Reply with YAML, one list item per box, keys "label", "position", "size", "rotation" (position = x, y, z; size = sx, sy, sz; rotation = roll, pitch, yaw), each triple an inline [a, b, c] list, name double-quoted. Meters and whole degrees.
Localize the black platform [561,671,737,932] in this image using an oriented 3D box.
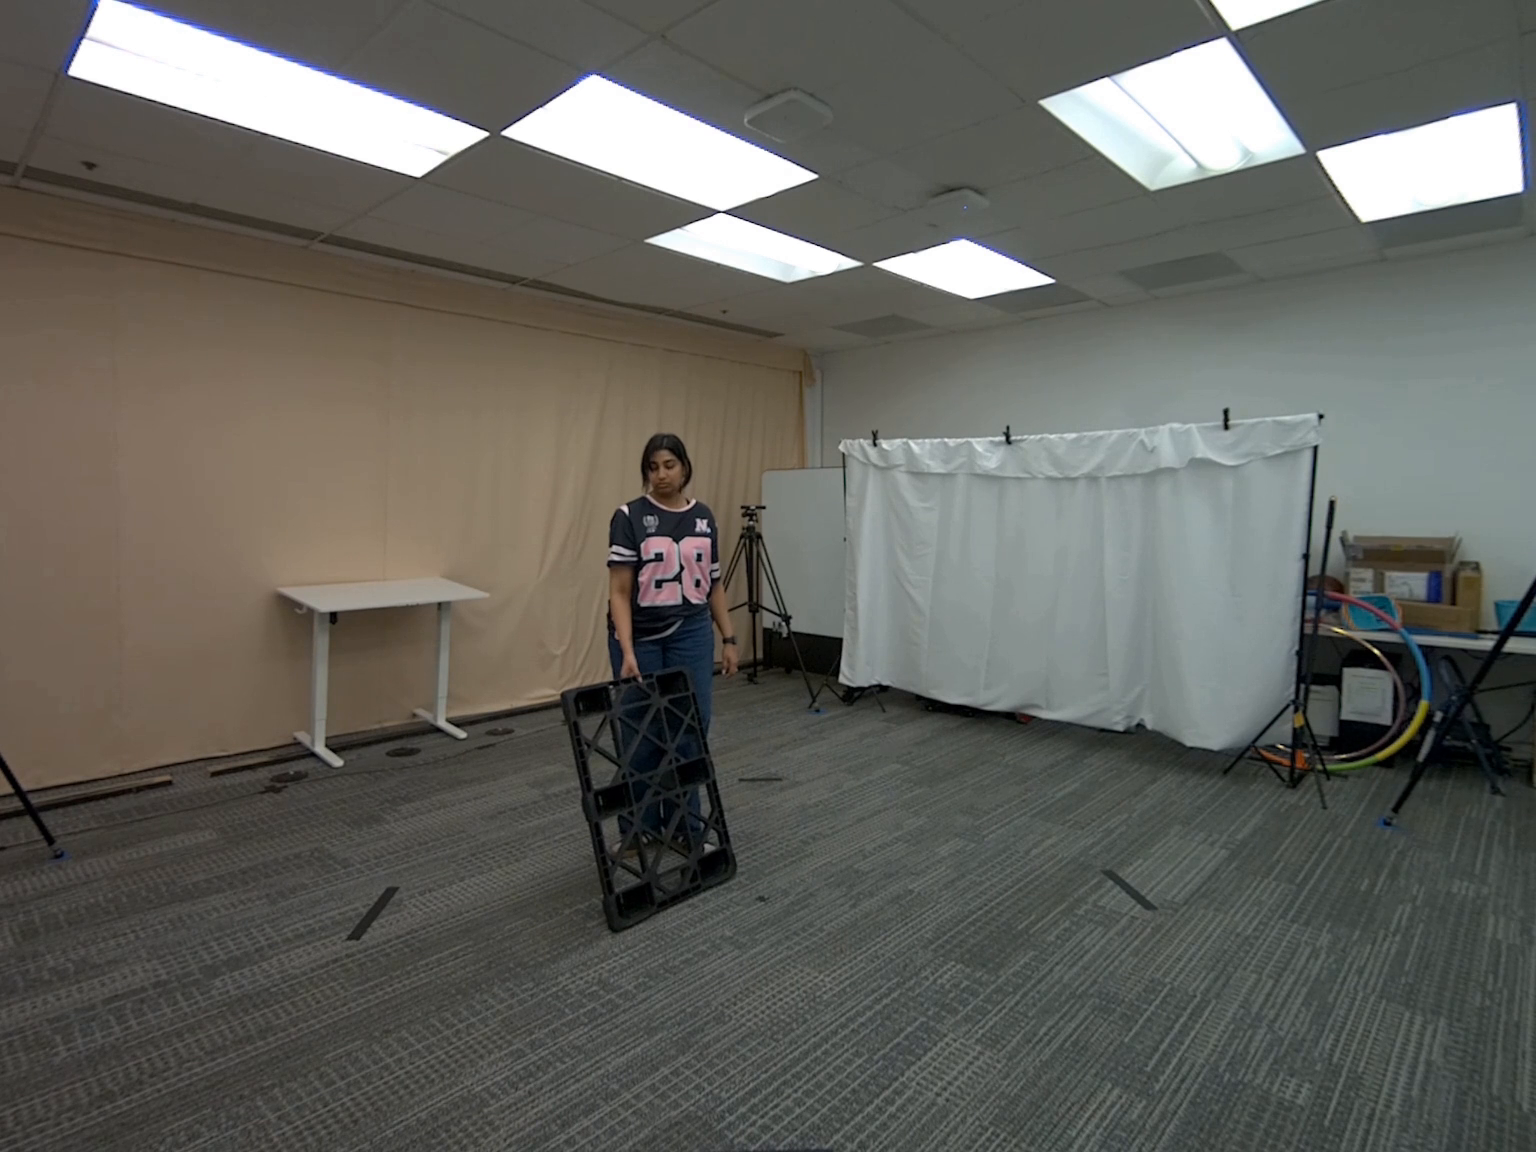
- label: "black platform"
  position: [-0.446, 0.768, 3.054]
  size: [0.146, 0.812, 0.586]
  rotation: [-23, -13, 41]
